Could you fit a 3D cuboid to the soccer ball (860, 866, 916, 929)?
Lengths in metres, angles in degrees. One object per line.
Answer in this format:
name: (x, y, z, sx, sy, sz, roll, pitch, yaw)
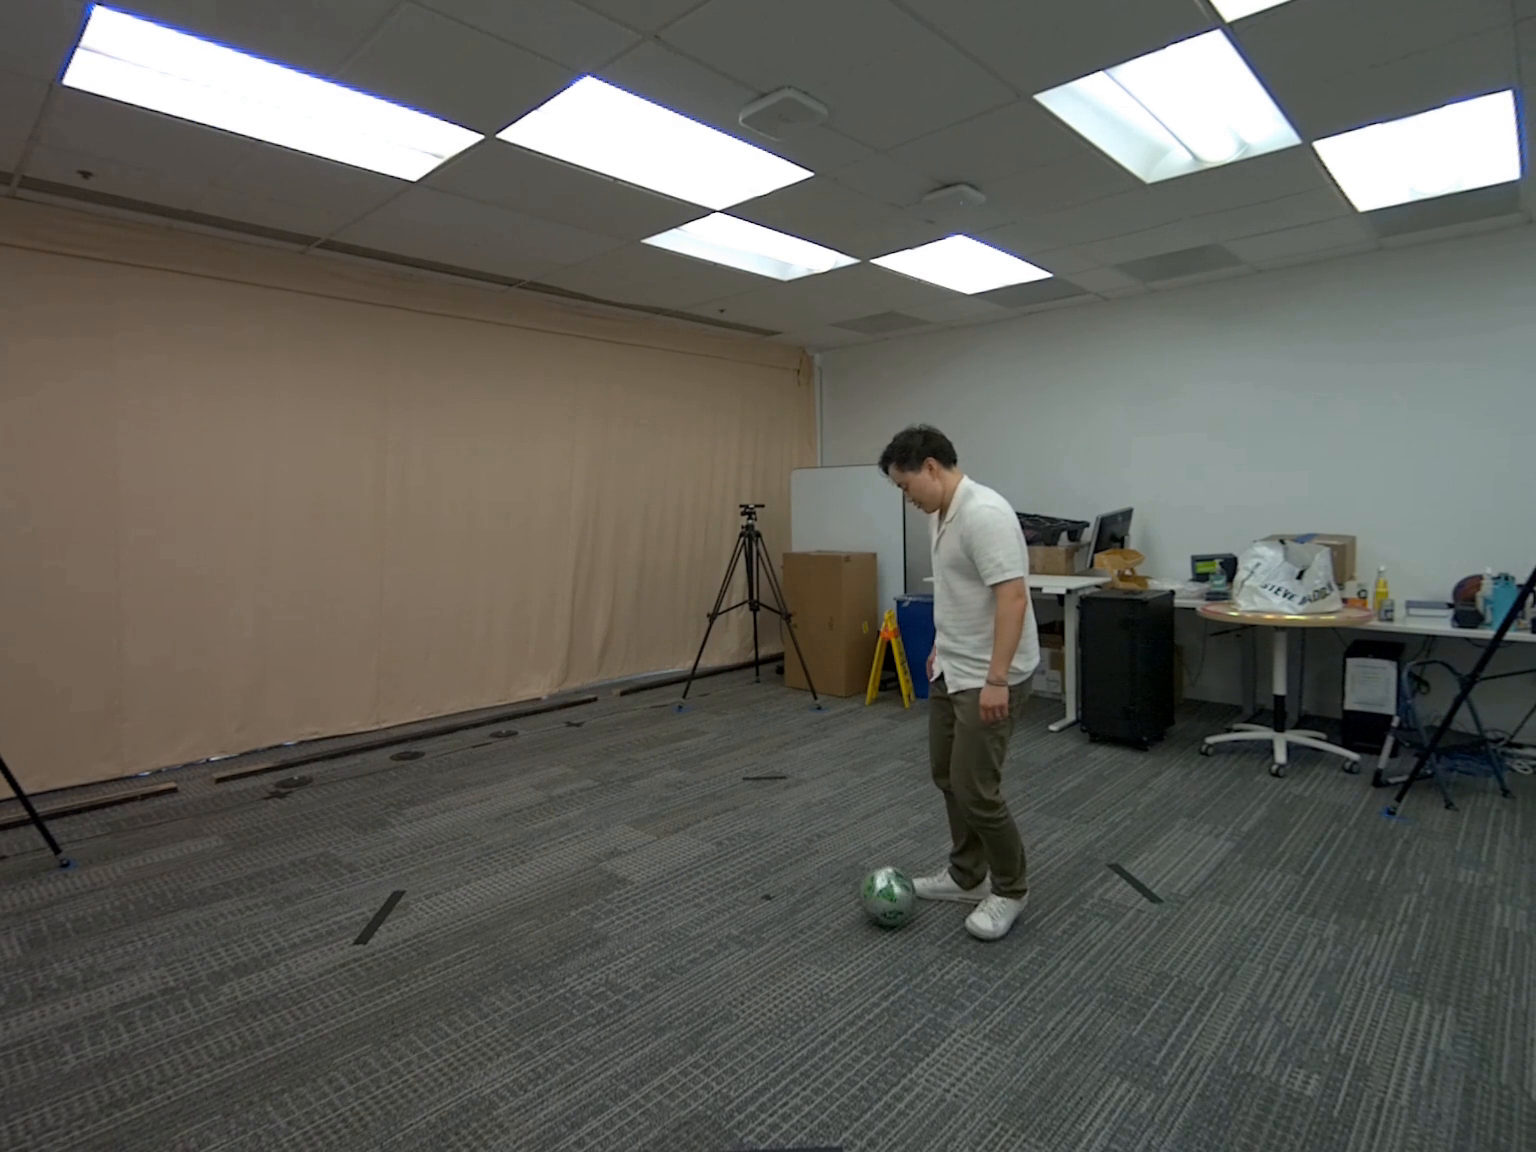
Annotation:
soccer ball: (0.397, 1.054, 2.789, 0.187, 0.187, 0.188, -1, 4, -2)
